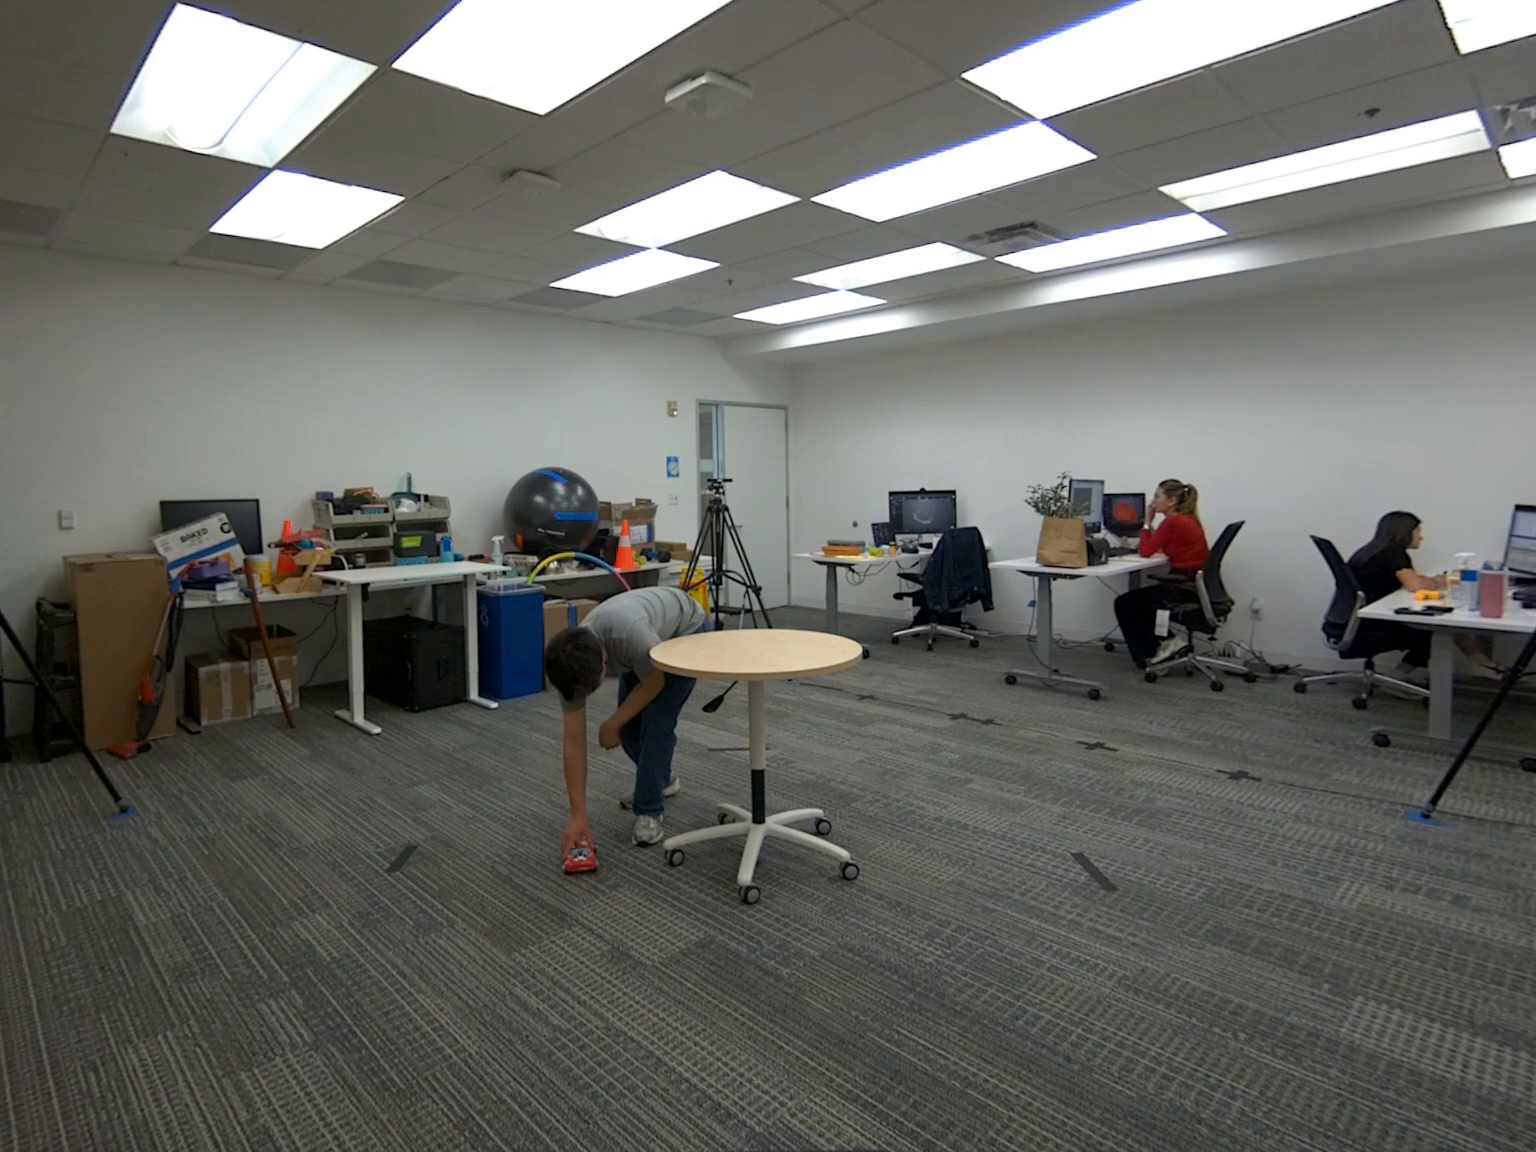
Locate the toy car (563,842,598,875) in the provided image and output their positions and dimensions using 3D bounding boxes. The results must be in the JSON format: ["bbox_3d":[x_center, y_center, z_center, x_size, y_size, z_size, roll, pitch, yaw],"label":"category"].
[{"bbox_3d":[-0.696,1.024,3.156,0.129,0.082,0.260,-1,17,-11],"label":"toy car"}]
